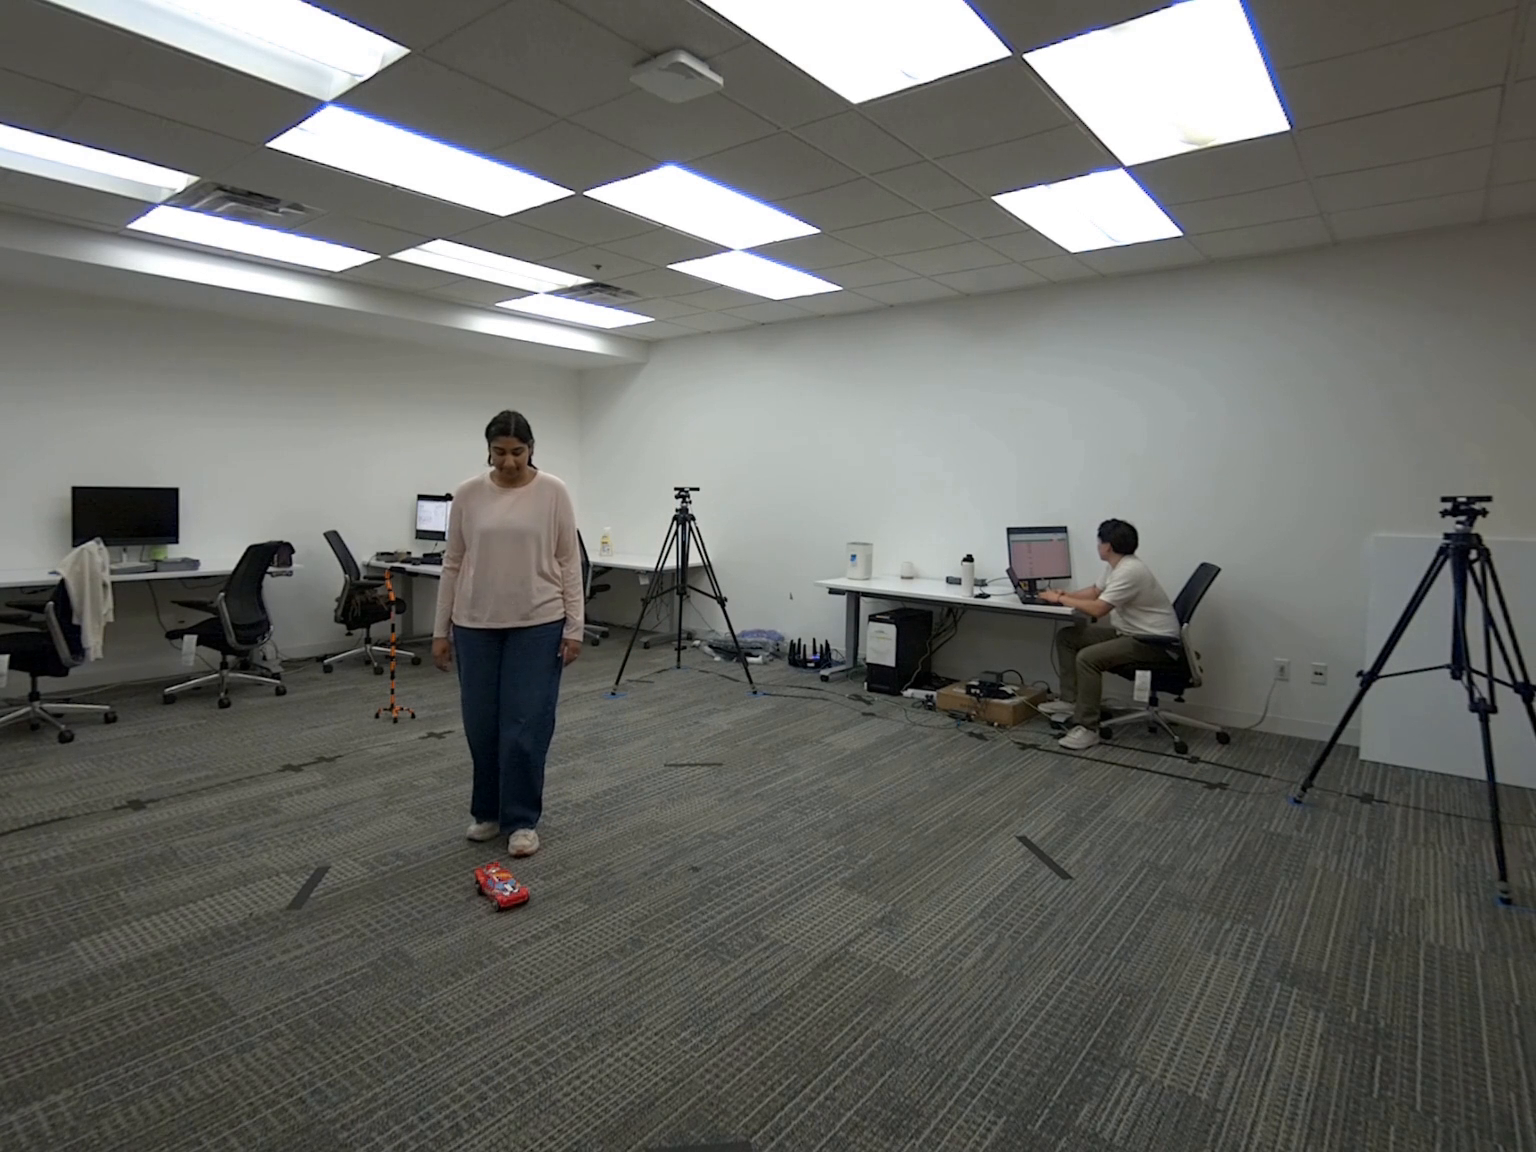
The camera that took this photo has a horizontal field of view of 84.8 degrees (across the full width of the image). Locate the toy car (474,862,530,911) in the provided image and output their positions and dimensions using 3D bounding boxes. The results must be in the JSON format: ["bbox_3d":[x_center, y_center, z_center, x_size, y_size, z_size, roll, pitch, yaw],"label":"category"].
[{"bbox_3d":[-0.920,1.052,2.876,0.126,0.082,0.265,-4,17,-39],"label":"toy car"}]
